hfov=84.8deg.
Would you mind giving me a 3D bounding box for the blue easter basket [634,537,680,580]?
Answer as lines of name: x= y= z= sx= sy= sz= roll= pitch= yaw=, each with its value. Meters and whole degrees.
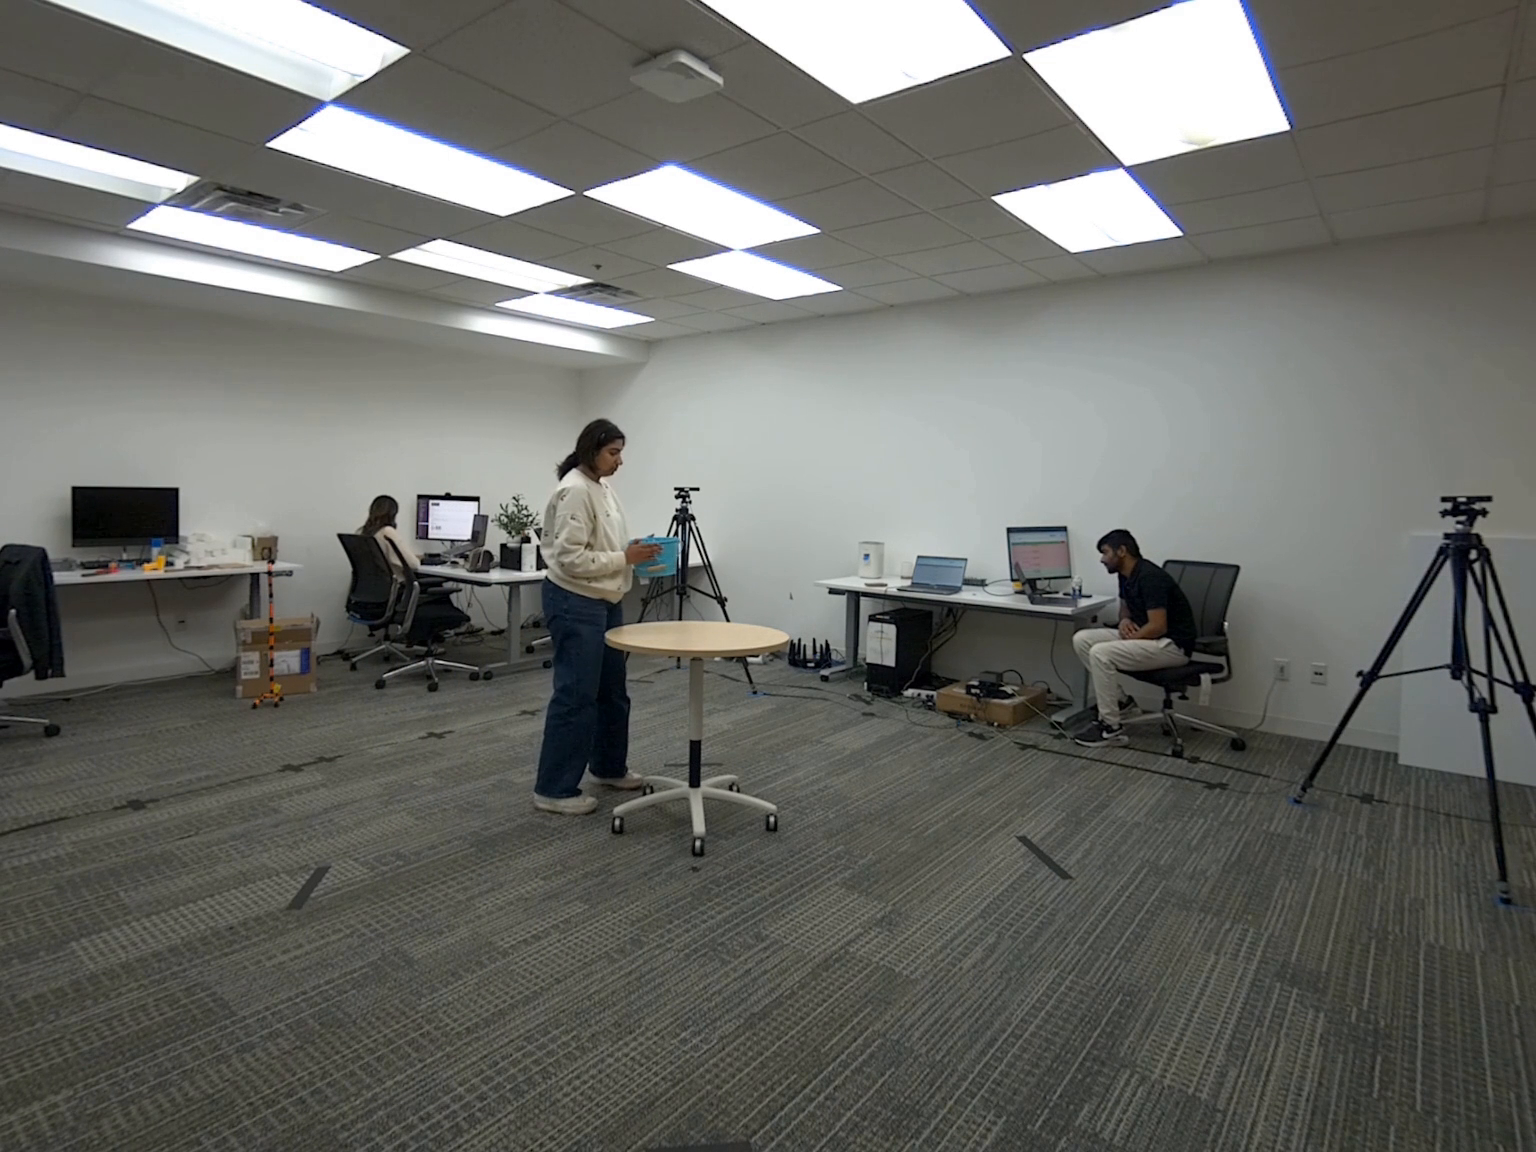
blue easter basket: x=-0.525 y=-0.081 z=3.755 sx=0.243 sy=0.155 sz=0.245 roll=-2 pitch=5 yaw=-2
